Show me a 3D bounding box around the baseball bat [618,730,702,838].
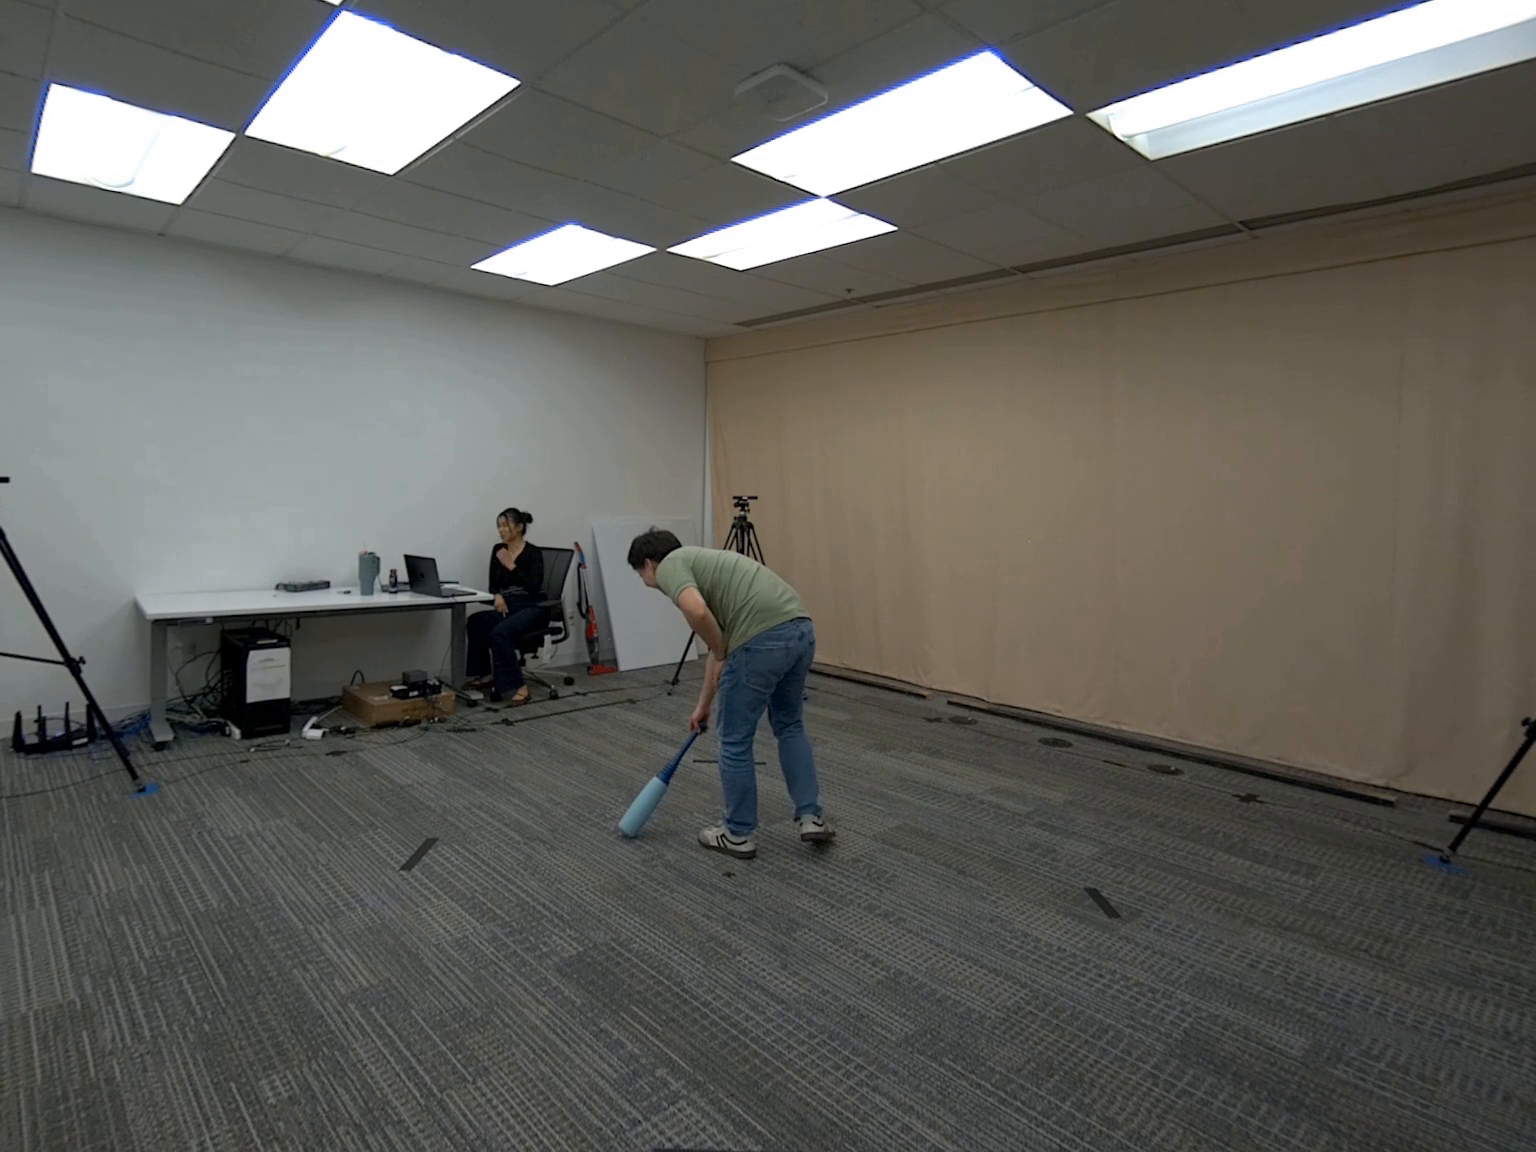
[{"bbox_3d":[-0.428,0.830,3.478,0.090,0.544,0.088,35,-14,9],"label":"baseball bat"}]
